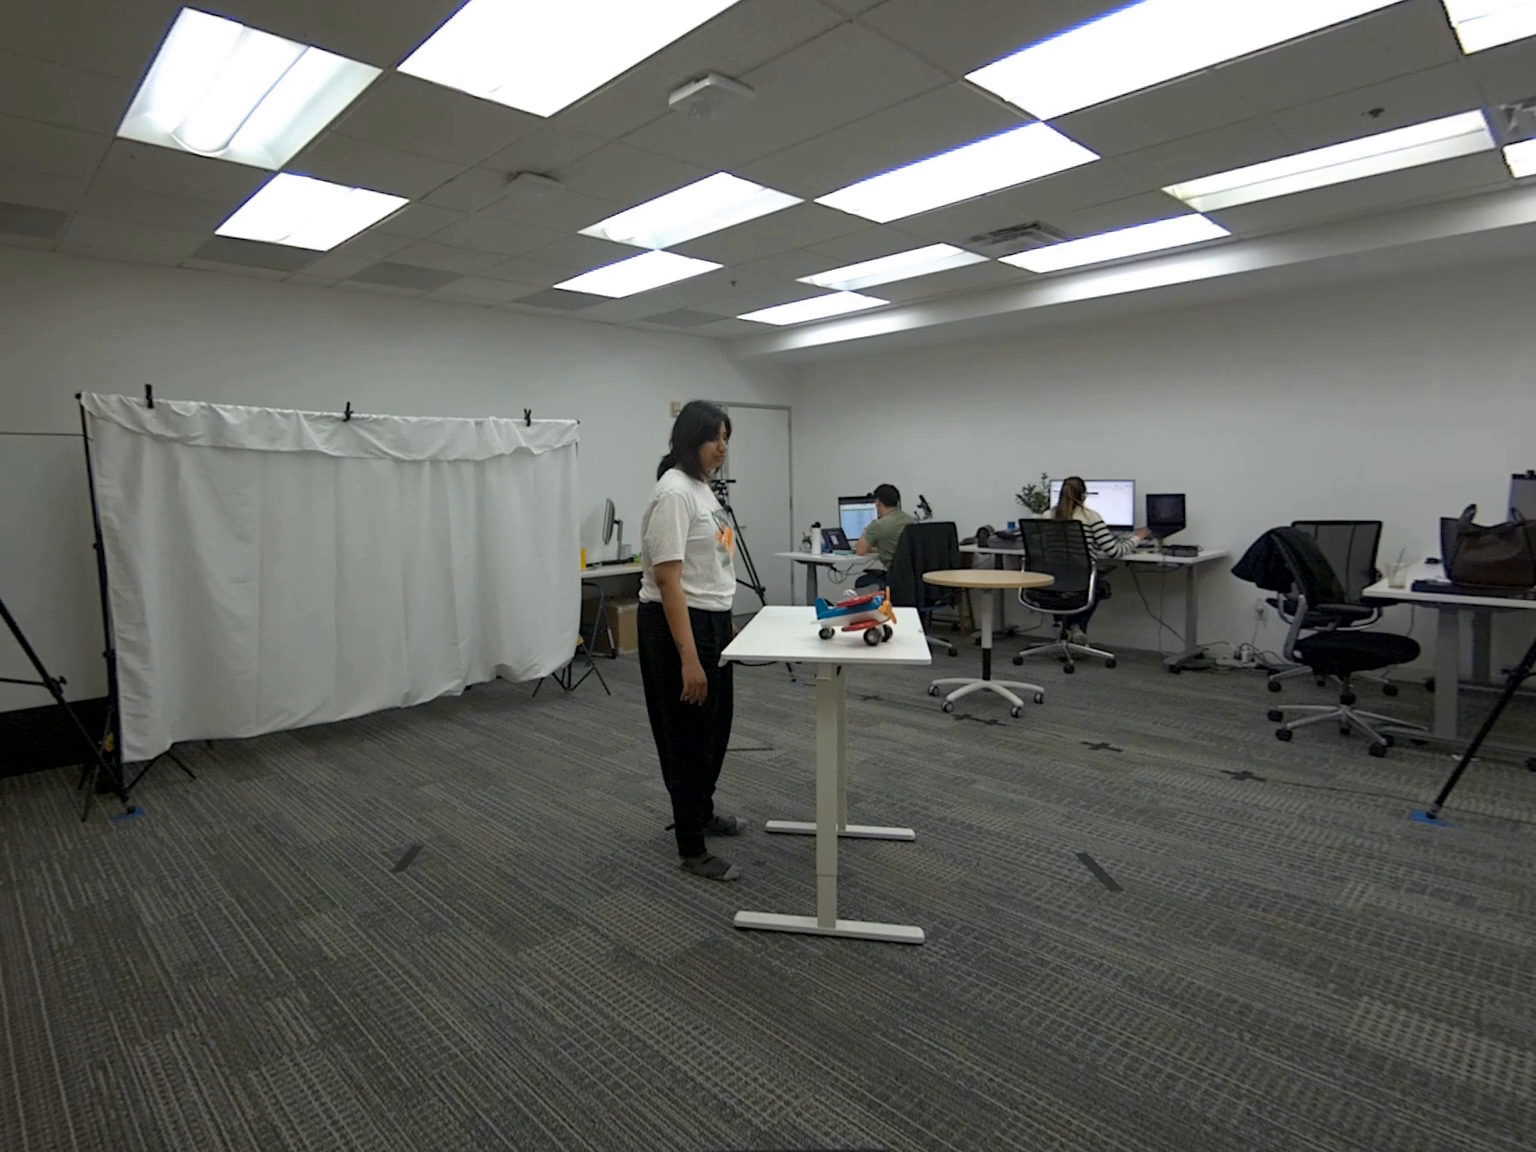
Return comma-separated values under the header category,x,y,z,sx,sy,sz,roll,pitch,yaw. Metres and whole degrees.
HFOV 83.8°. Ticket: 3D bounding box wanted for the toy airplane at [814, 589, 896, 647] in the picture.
category,x,y,z,sx,sy,sz,roll,pitch,yaw
toy airplane,0.270,0.130,2.656,0.260,0.156,0.251,2,5,4
